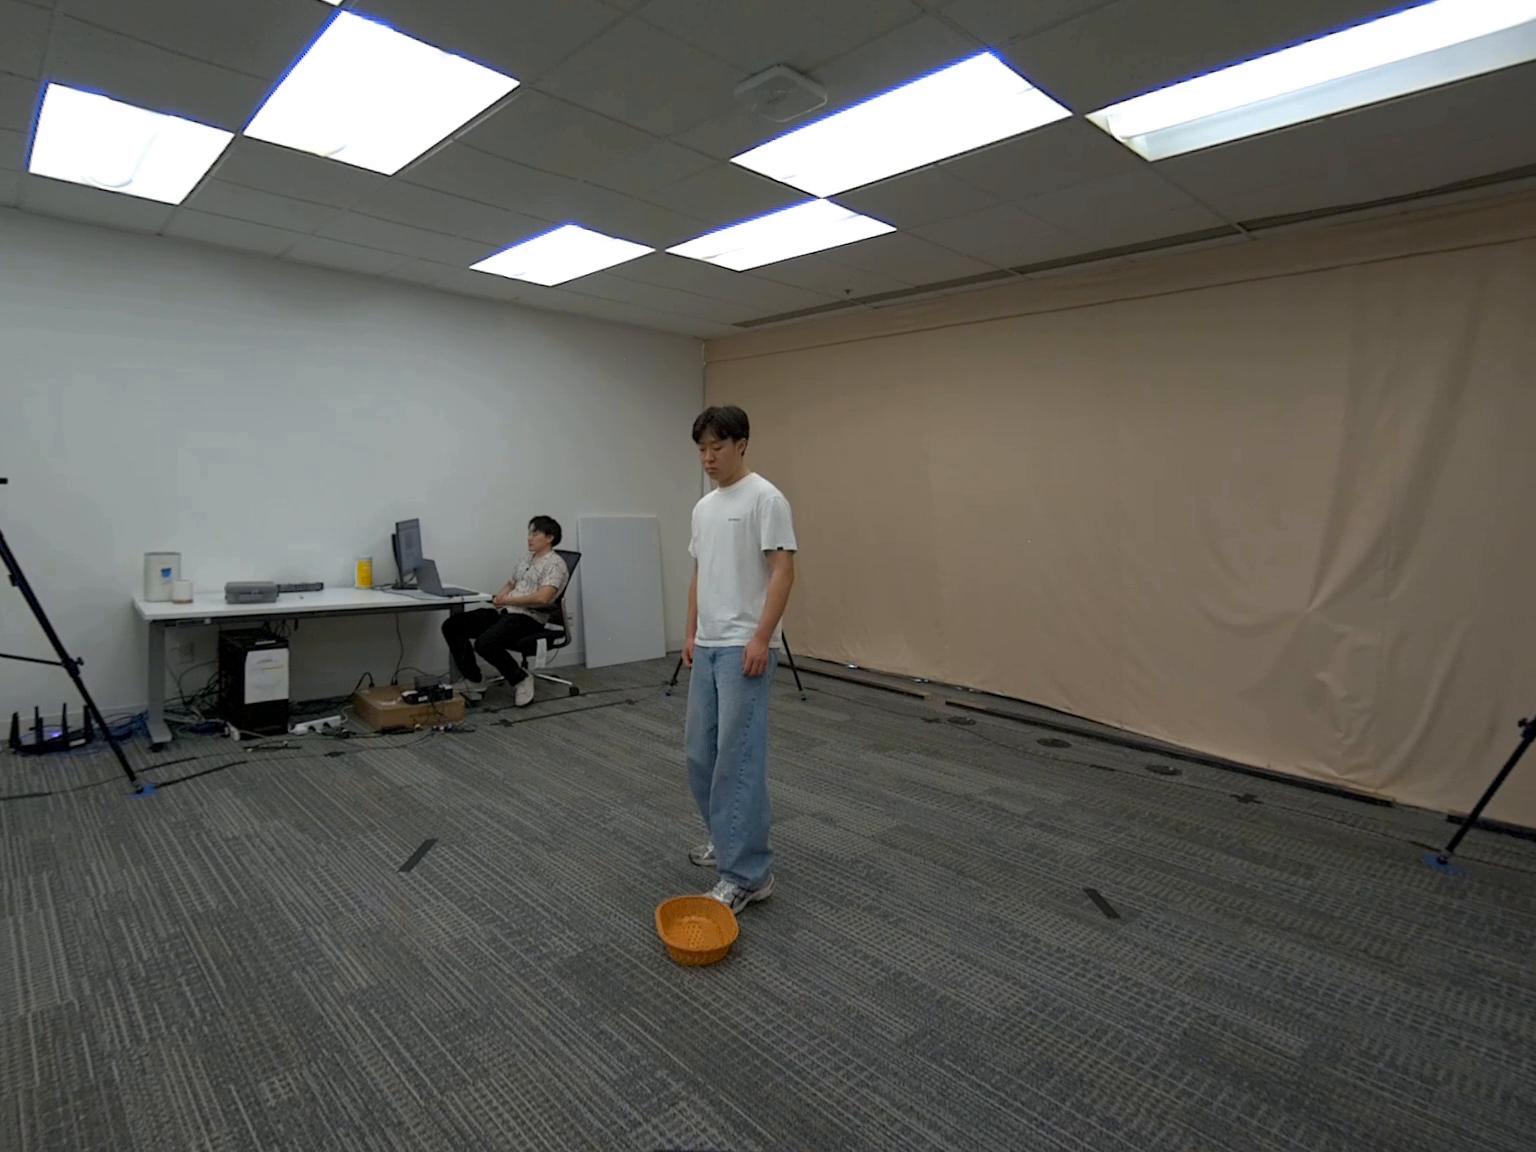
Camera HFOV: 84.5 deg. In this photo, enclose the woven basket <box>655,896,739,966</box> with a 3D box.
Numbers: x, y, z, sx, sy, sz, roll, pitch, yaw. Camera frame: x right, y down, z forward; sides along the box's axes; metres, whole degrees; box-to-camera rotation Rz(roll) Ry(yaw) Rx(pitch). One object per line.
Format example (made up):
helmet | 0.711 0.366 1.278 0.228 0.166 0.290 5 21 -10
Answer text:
woven basket | -0.237 1.109 2.624 0.251 0.073 0.353 1 5 -7
